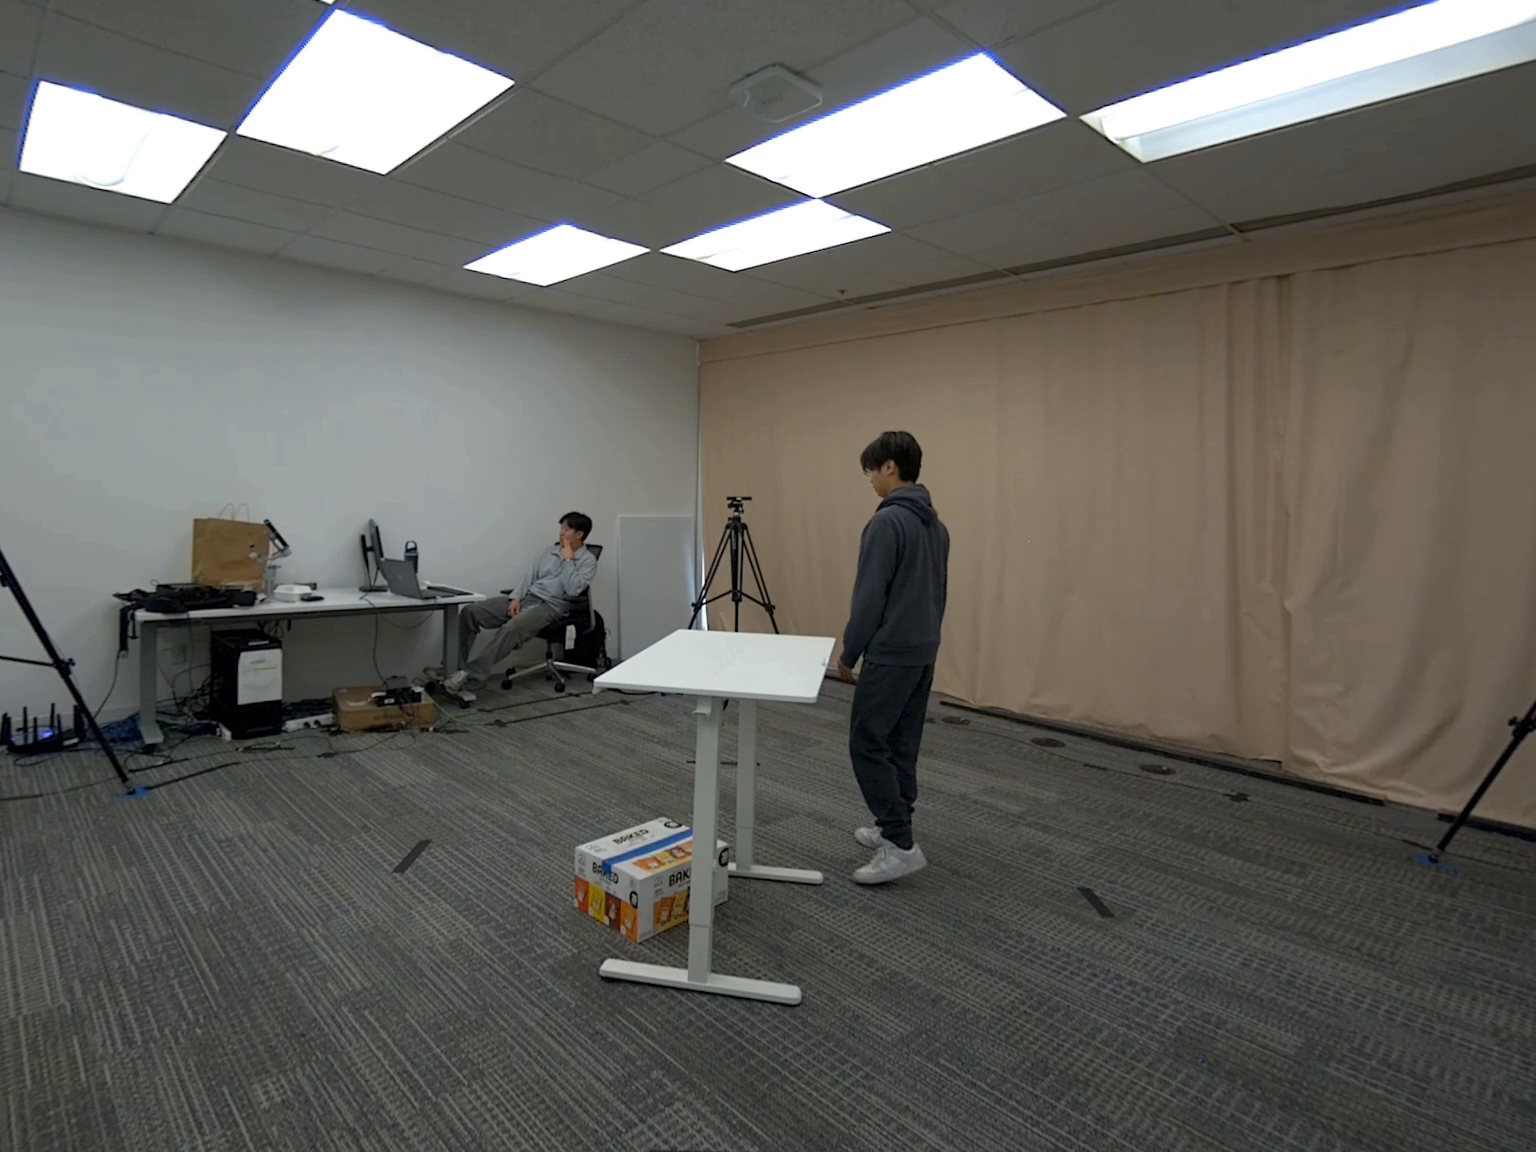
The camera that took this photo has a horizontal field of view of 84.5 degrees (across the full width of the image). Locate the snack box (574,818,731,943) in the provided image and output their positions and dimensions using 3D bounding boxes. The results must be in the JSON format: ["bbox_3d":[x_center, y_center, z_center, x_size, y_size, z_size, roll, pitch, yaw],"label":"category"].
[{"bbox_3d":[-0.402,1.022,2.867,0.349,0.205,0.396,6,6,42],"label":"snack box"}]
